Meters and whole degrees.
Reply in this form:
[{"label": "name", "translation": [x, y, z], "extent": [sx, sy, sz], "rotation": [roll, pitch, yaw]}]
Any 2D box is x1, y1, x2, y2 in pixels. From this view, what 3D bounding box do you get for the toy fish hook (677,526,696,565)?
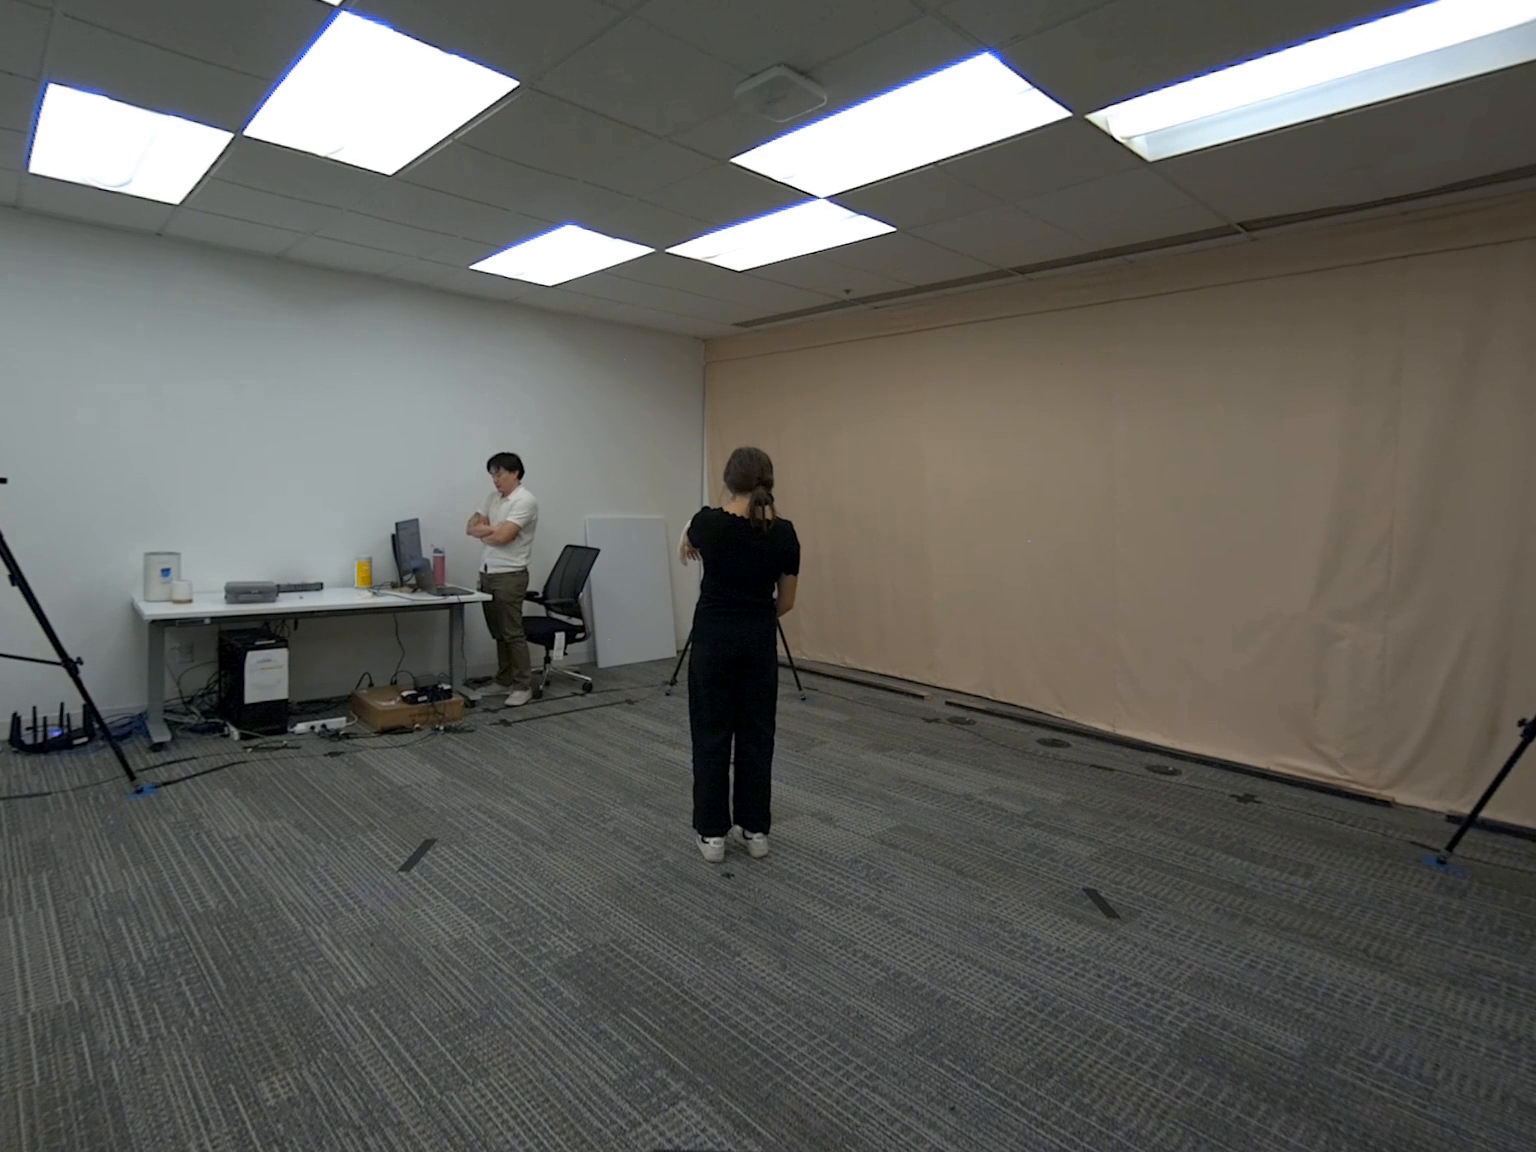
[{"label": "toy fish hook", "translation": [-0.283, 0.011, 3.673], "extent": [0.224, 0.504, 0.048], "rotation": [-7, 6, -2]}]
